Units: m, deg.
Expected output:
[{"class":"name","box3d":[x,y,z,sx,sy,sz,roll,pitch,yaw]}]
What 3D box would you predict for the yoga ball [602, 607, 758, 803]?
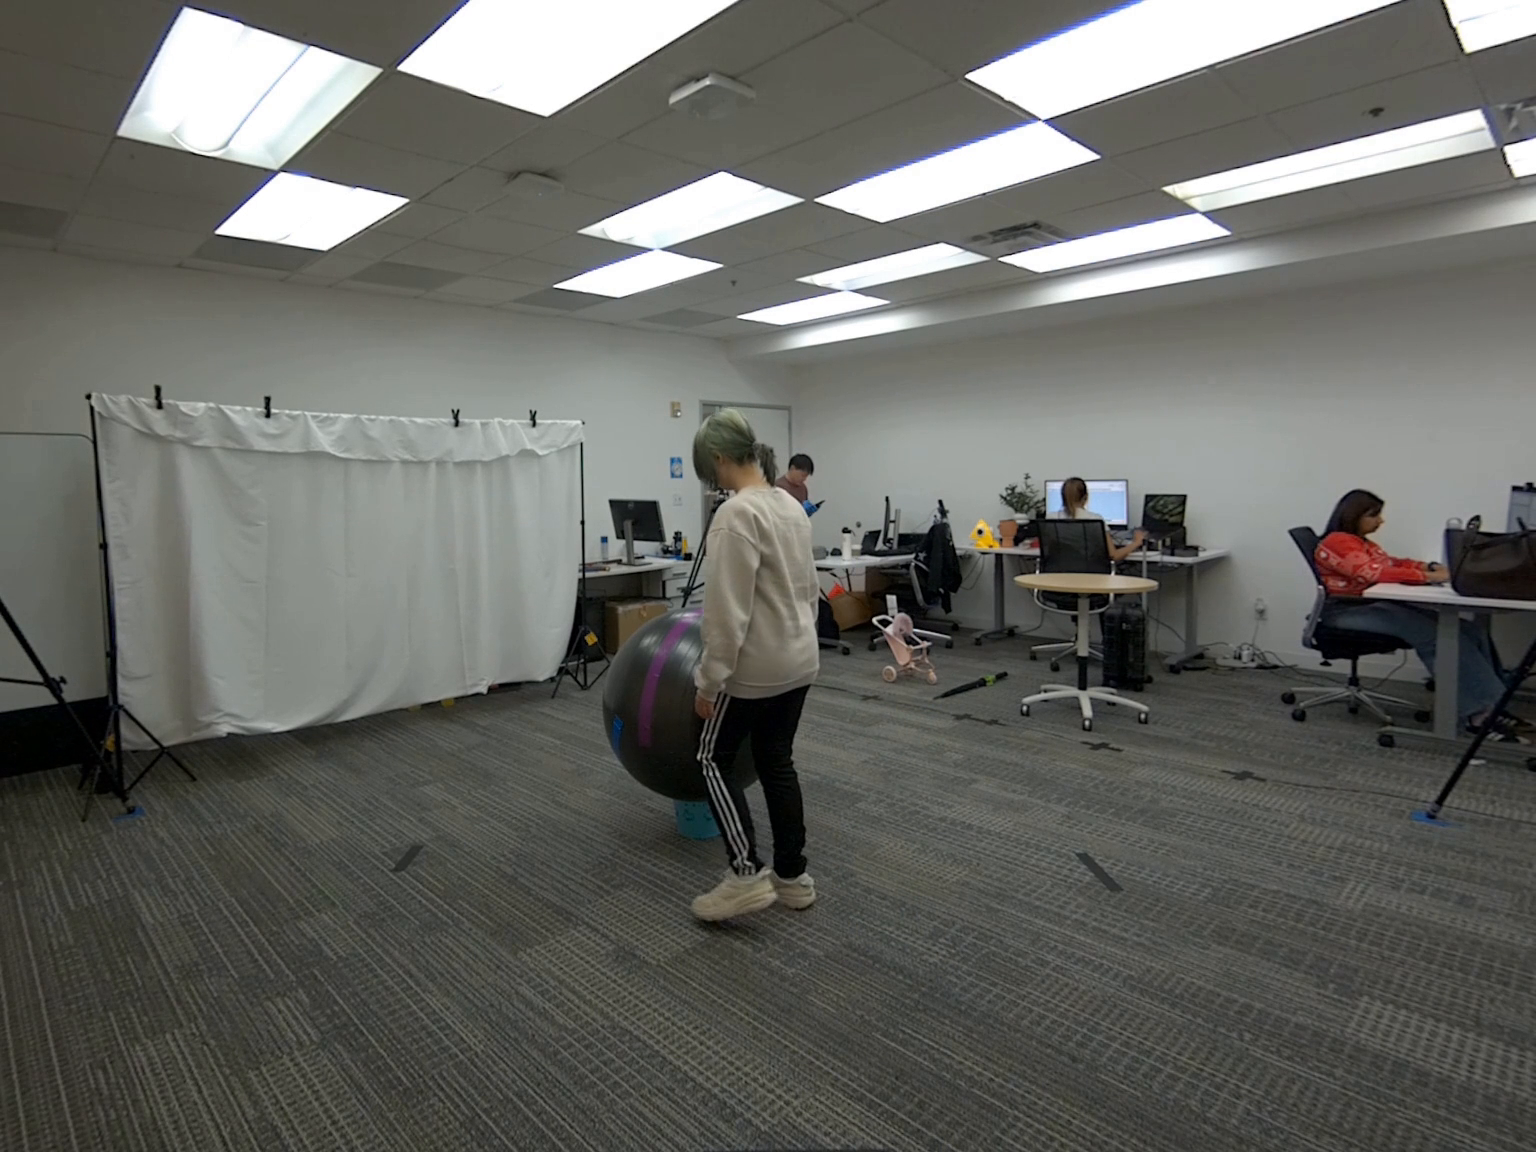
[{"class":"yoga ball","box3d":[-0.276,0.503,3.396,0.757,0.755,0.762,-1,5,-2]}]
